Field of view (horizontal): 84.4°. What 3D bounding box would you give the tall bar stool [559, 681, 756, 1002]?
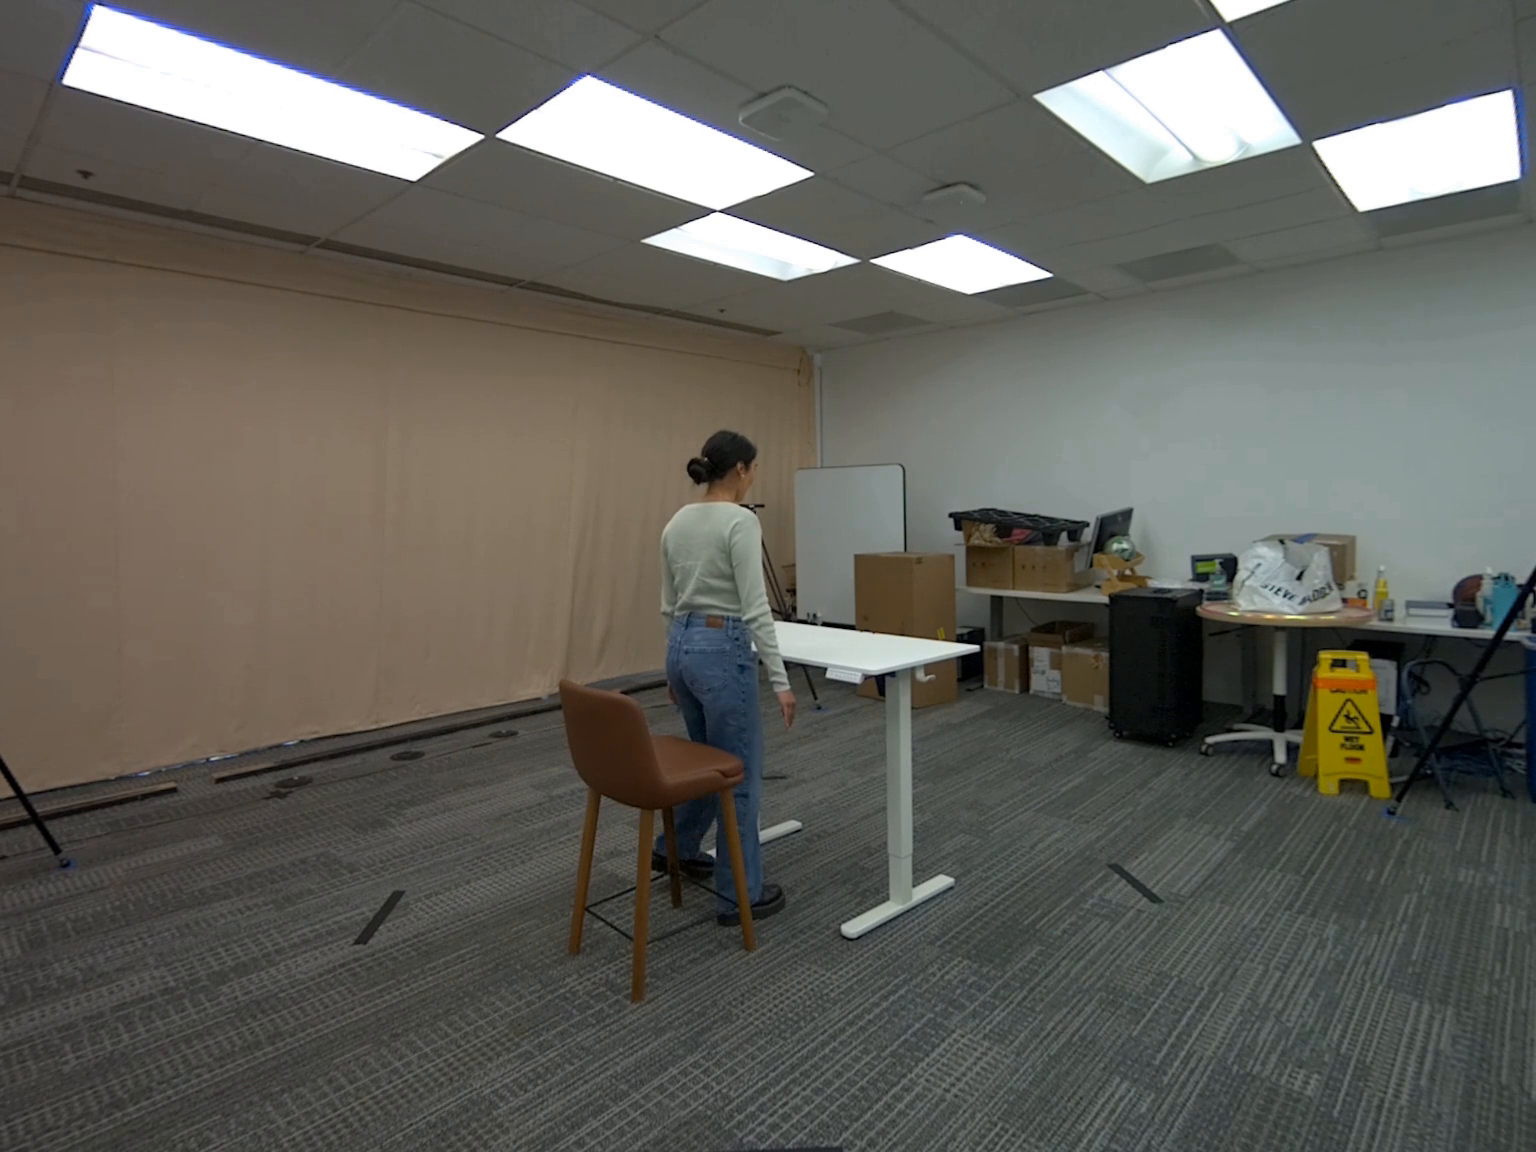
[{"bbox_3d":[-0.346,0.739,2.619,0.454,0.887,0.471,-6,6,-41],"label":"tall bar stool"}]
